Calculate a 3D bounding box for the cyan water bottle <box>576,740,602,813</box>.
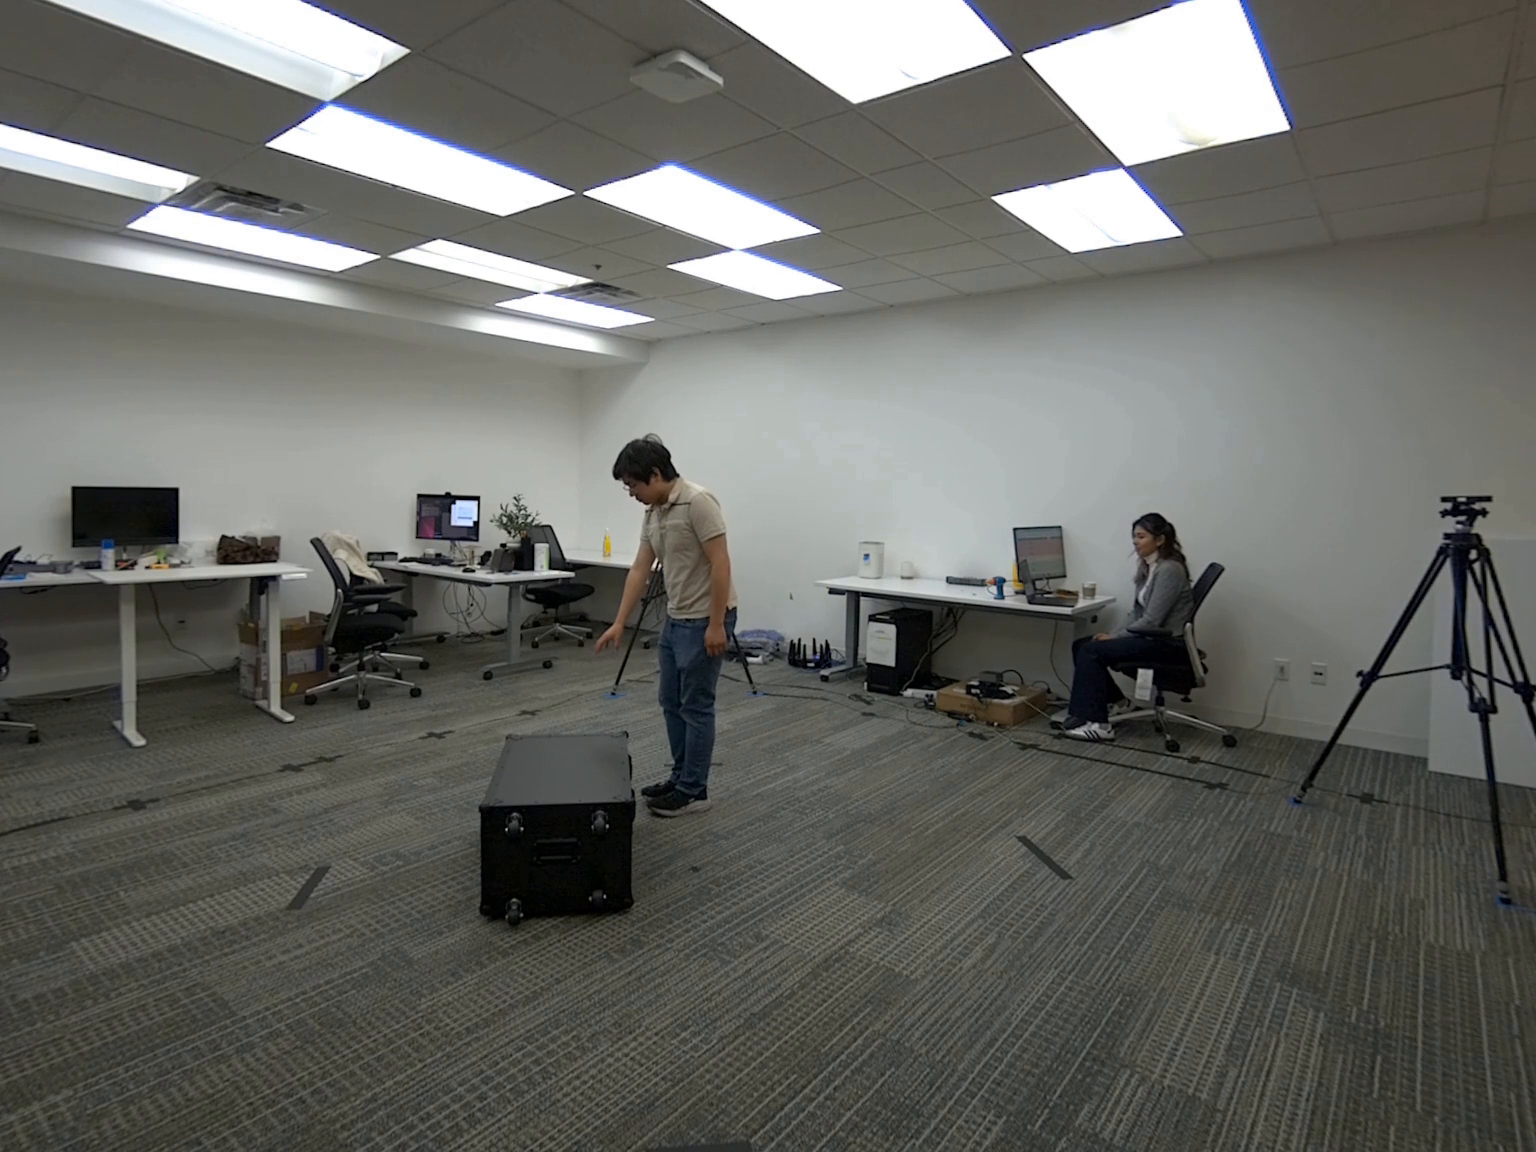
[{"bbox_3d":[-0.773,0.862,3.627,0.092,0.282,0.093,0,4,-2],"label":"cyan water bottle"}]
